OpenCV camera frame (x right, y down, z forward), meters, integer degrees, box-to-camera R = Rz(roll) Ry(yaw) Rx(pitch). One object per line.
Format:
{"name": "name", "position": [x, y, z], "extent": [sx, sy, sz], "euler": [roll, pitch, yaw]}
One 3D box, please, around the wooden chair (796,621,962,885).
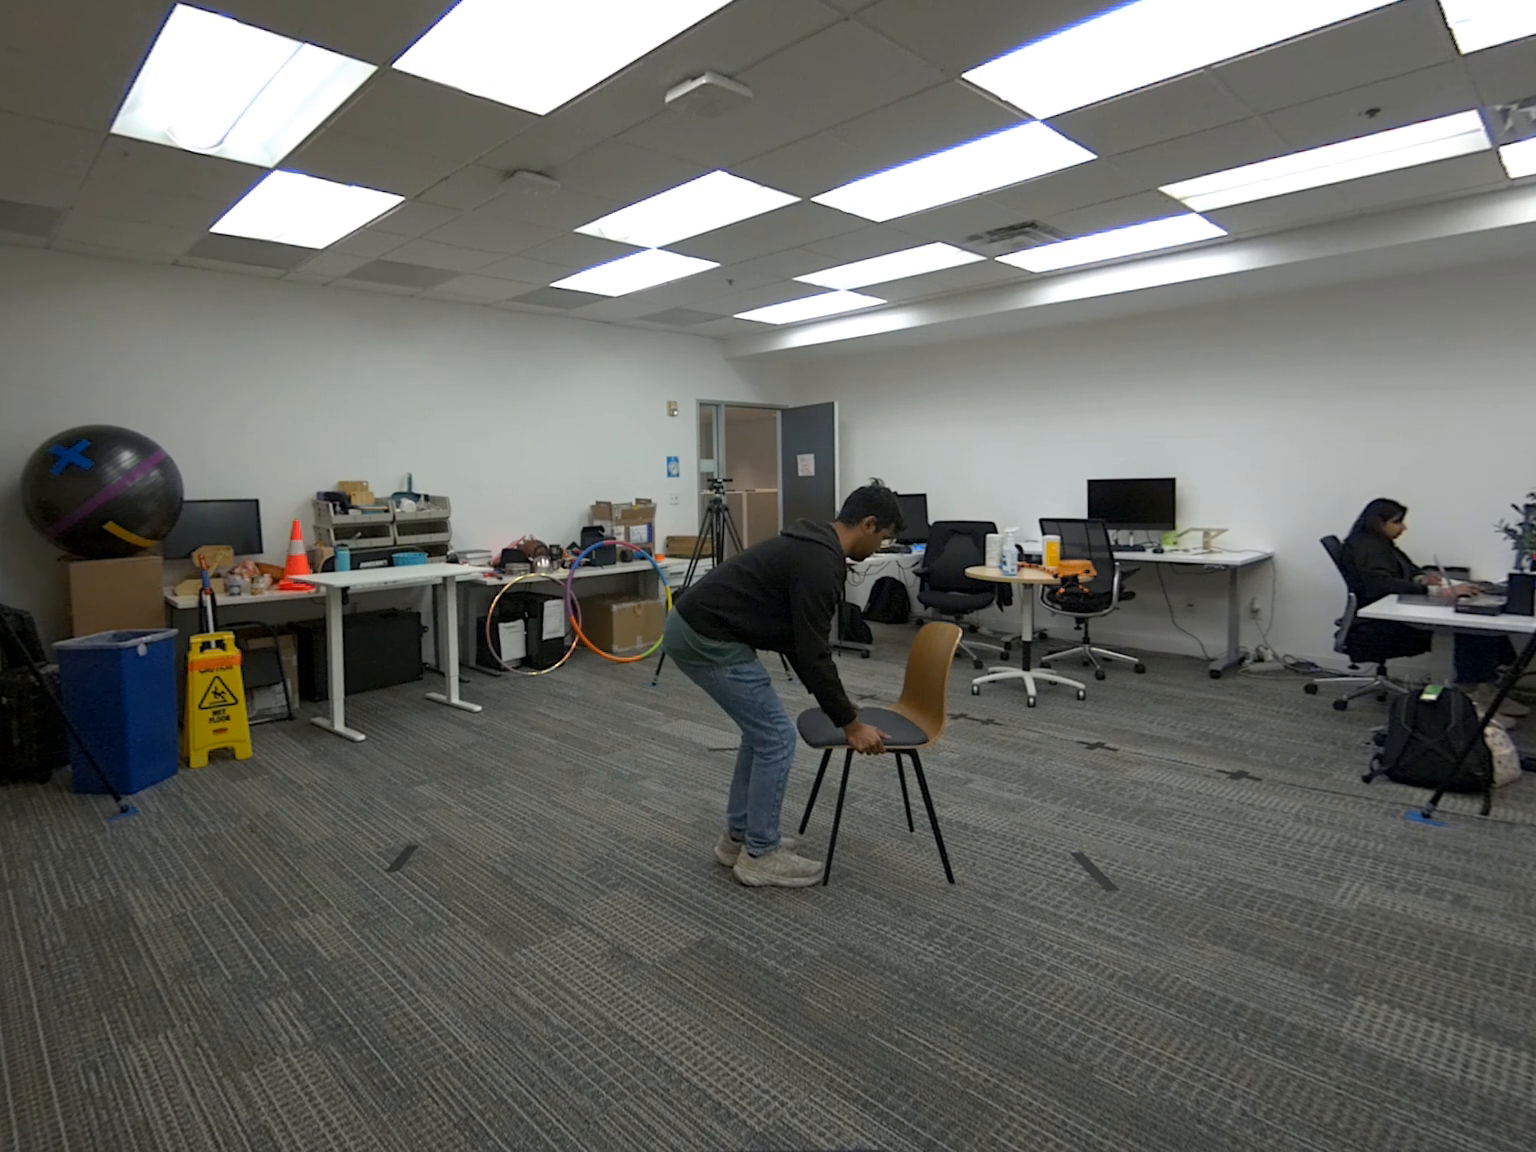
{"name": "wooden chair", "position": [0.374, 0.574, 3.057], "extent": [0.519, 0.875, 0.483], "euler": [5, 4, -7]}
